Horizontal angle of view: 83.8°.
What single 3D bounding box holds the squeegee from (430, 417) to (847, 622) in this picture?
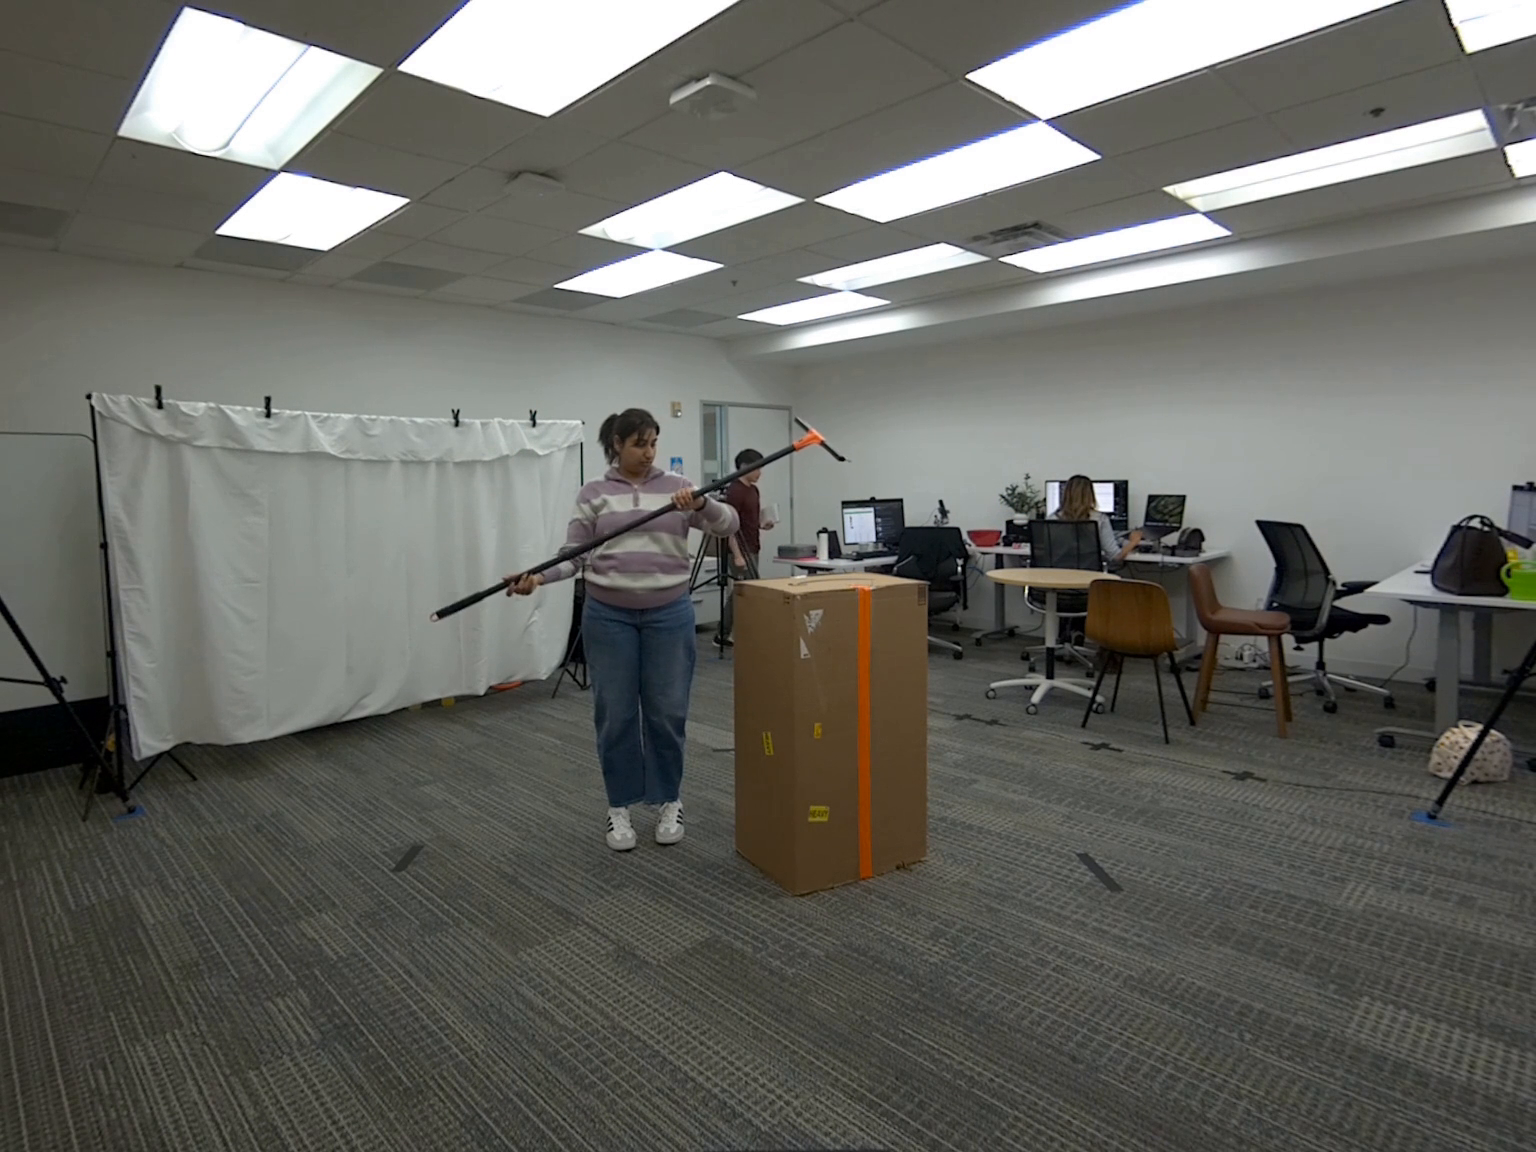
[{"bbox_3d":[-0.480,-0.170,2.981,1.533,0.051,0.453,-26,35,-5],"label":"squeegee"}]
